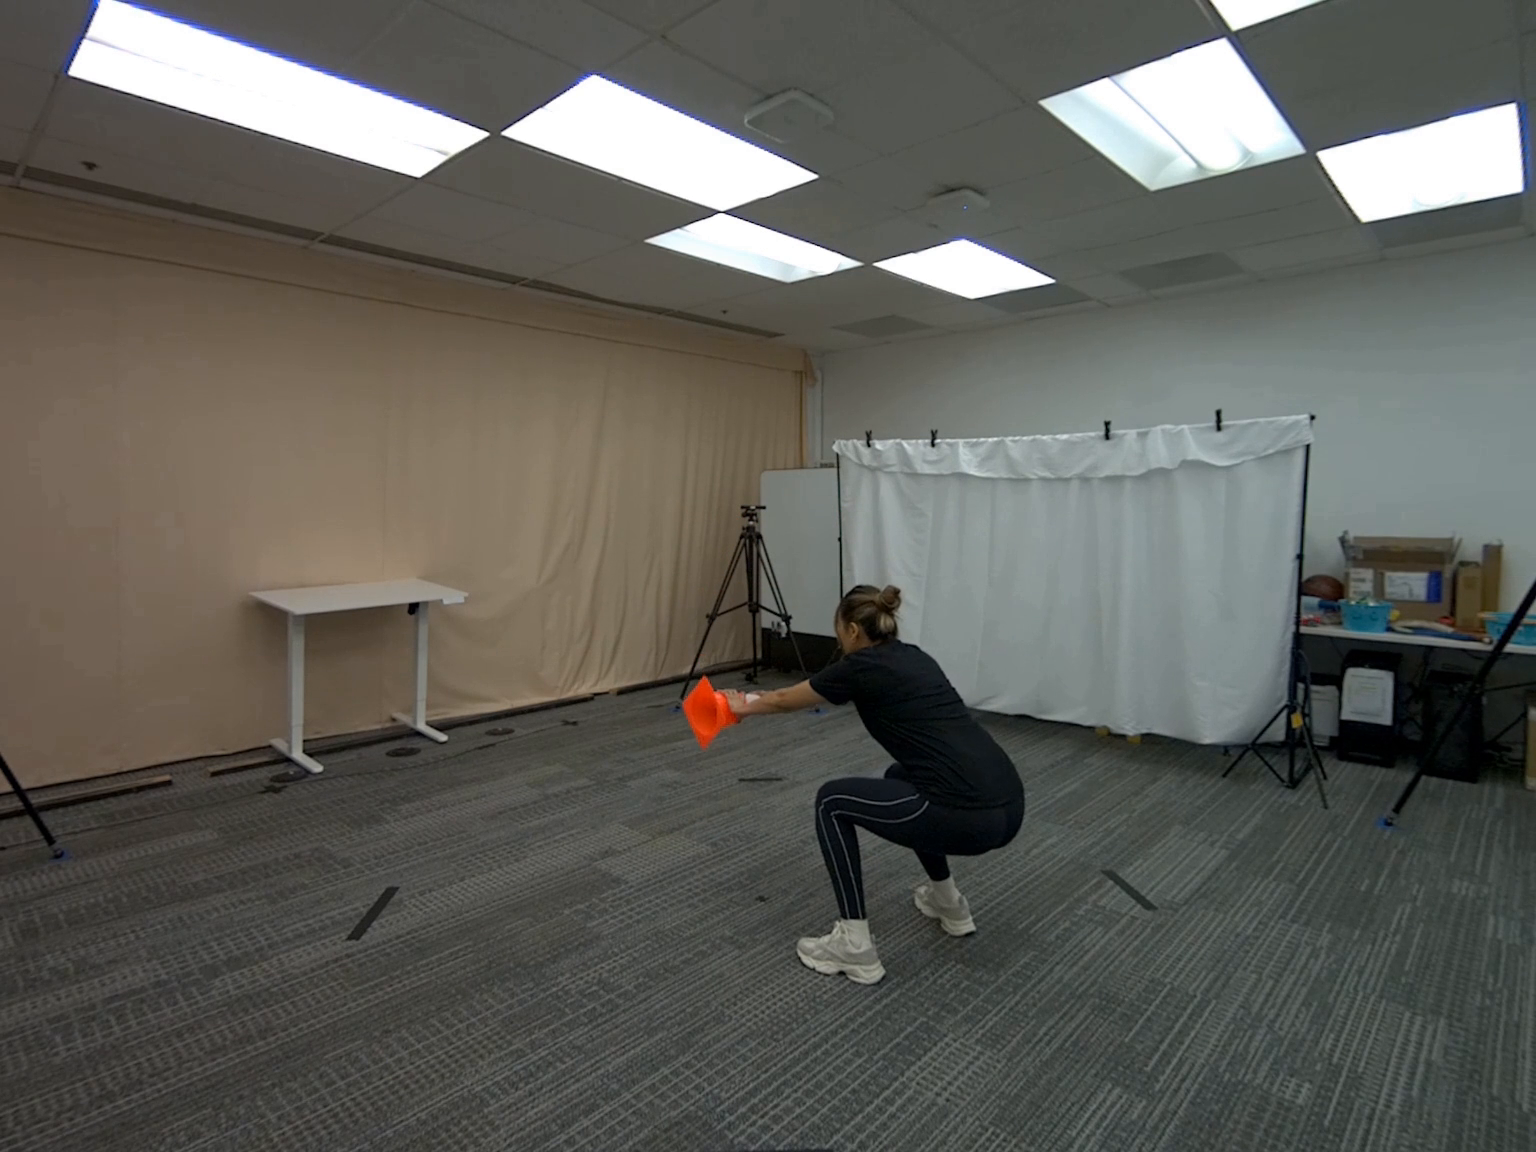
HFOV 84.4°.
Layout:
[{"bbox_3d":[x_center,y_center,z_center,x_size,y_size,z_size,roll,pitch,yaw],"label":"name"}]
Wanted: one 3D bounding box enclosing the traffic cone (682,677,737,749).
[{"bbox_3d":[-0.090,0.486,3.185,0.372,0.210,0.204,0,-39,-37],"label":"traffic cone"}]
